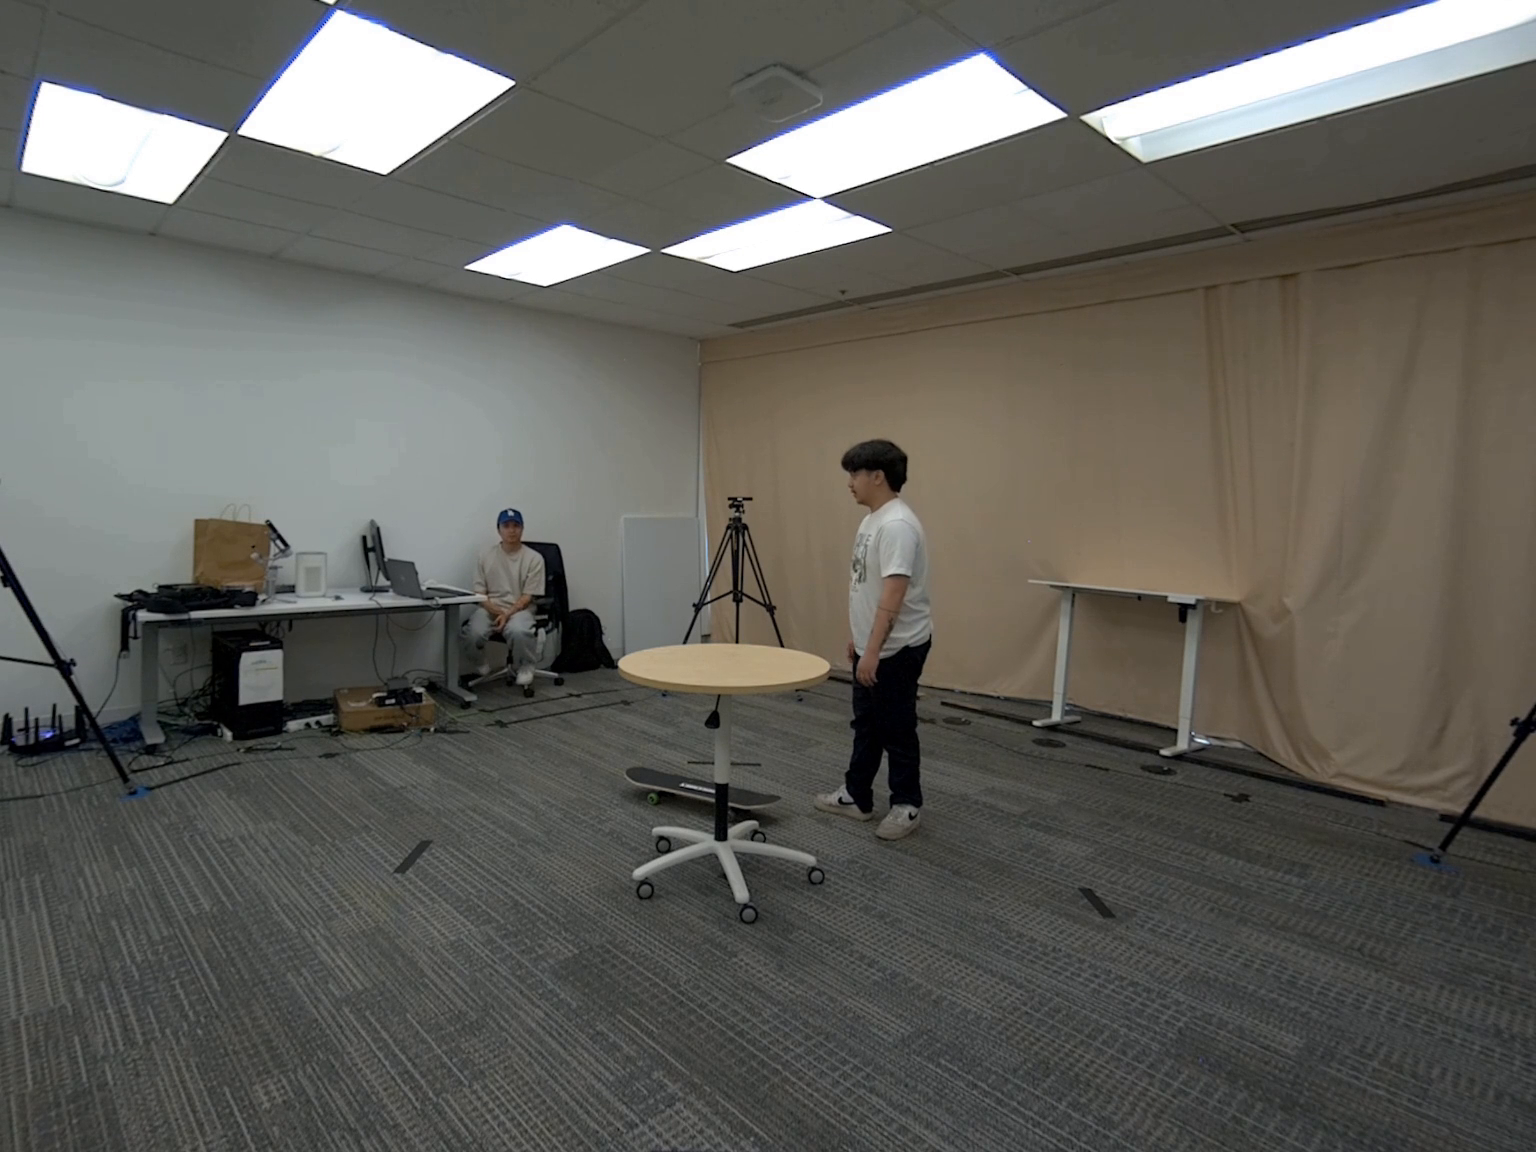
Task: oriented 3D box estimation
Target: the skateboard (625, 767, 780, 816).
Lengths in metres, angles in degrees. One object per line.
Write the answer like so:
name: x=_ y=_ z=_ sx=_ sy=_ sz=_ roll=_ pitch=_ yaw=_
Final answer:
skateboard: x=-0.315 y=0.987 z=3.795 sx=0.802 sy=0.110 sz=0.190 roll=4 pitch=5 yaw=28
